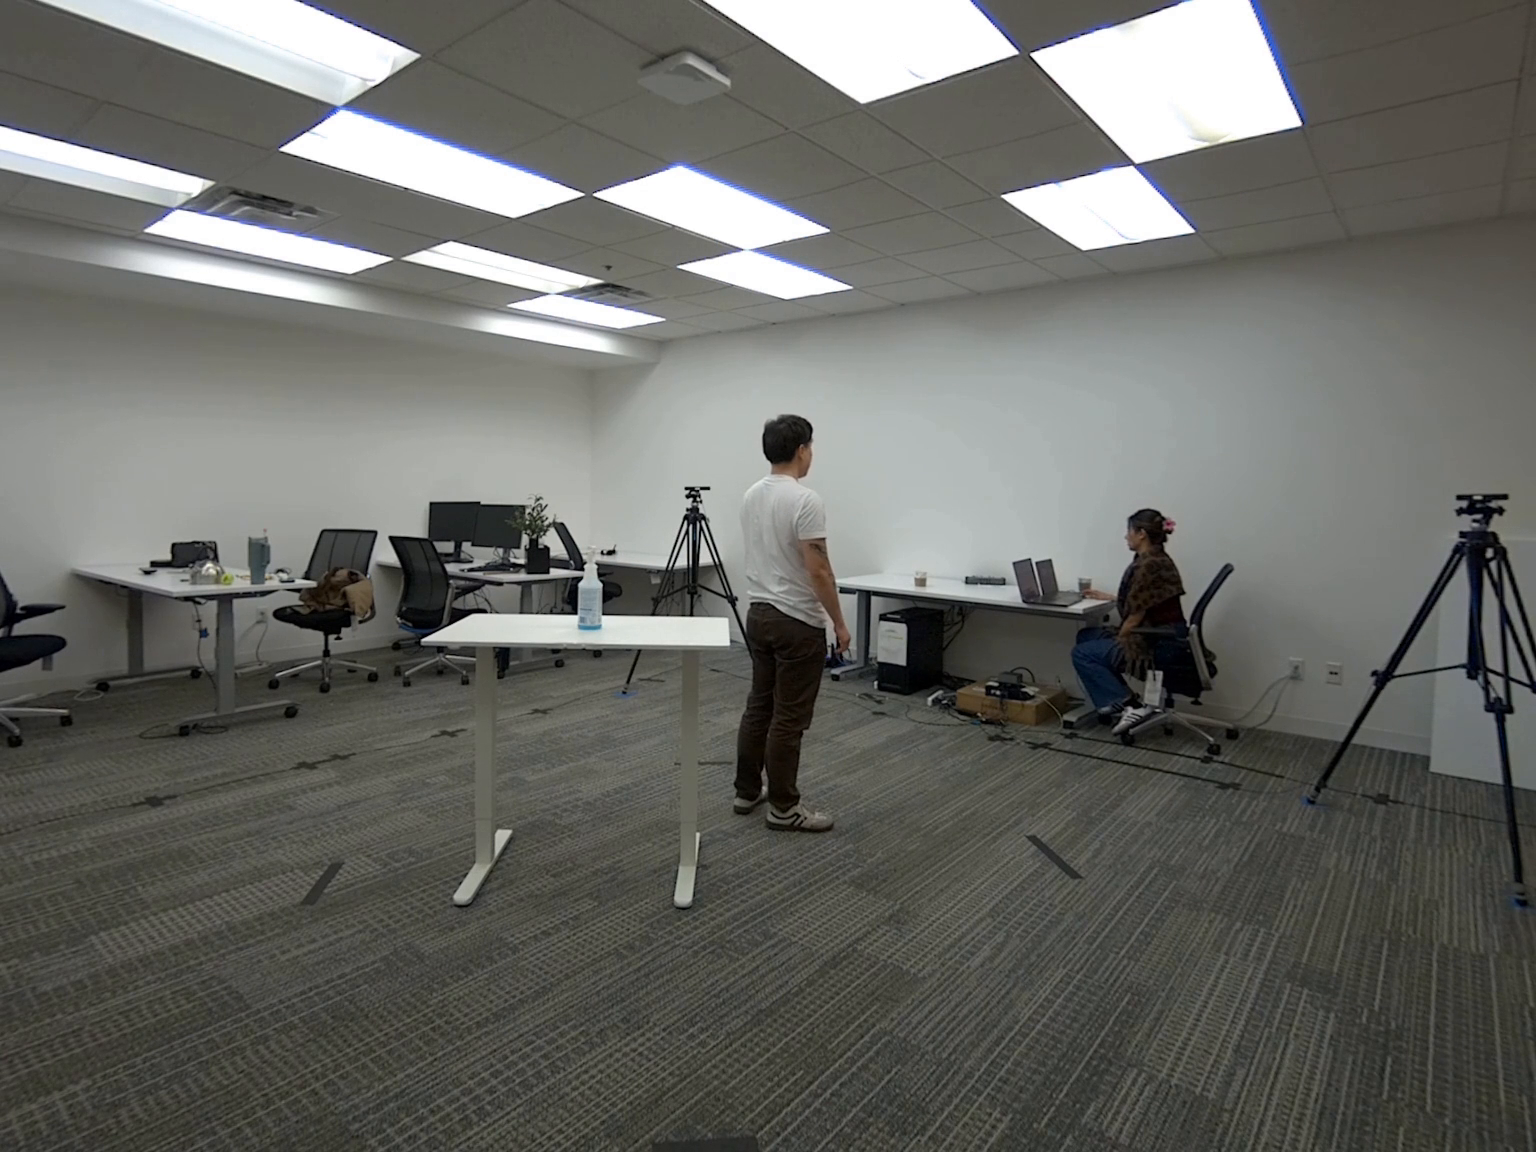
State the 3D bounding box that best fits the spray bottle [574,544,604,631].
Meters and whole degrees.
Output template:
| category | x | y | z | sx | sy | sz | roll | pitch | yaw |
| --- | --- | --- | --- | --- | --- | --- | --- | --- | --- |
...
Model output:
| category | x | y | z | sx | sy | sz | roll | pitch | yaw |
| --- | --- | --- | --- | --- | --- | --- | --- | --- | --- |
| spray bottle | -0.648 | 0.037 | 3.034 | 0.087 | 0.296 | 0.090 | 1 | 3 | 1 |
